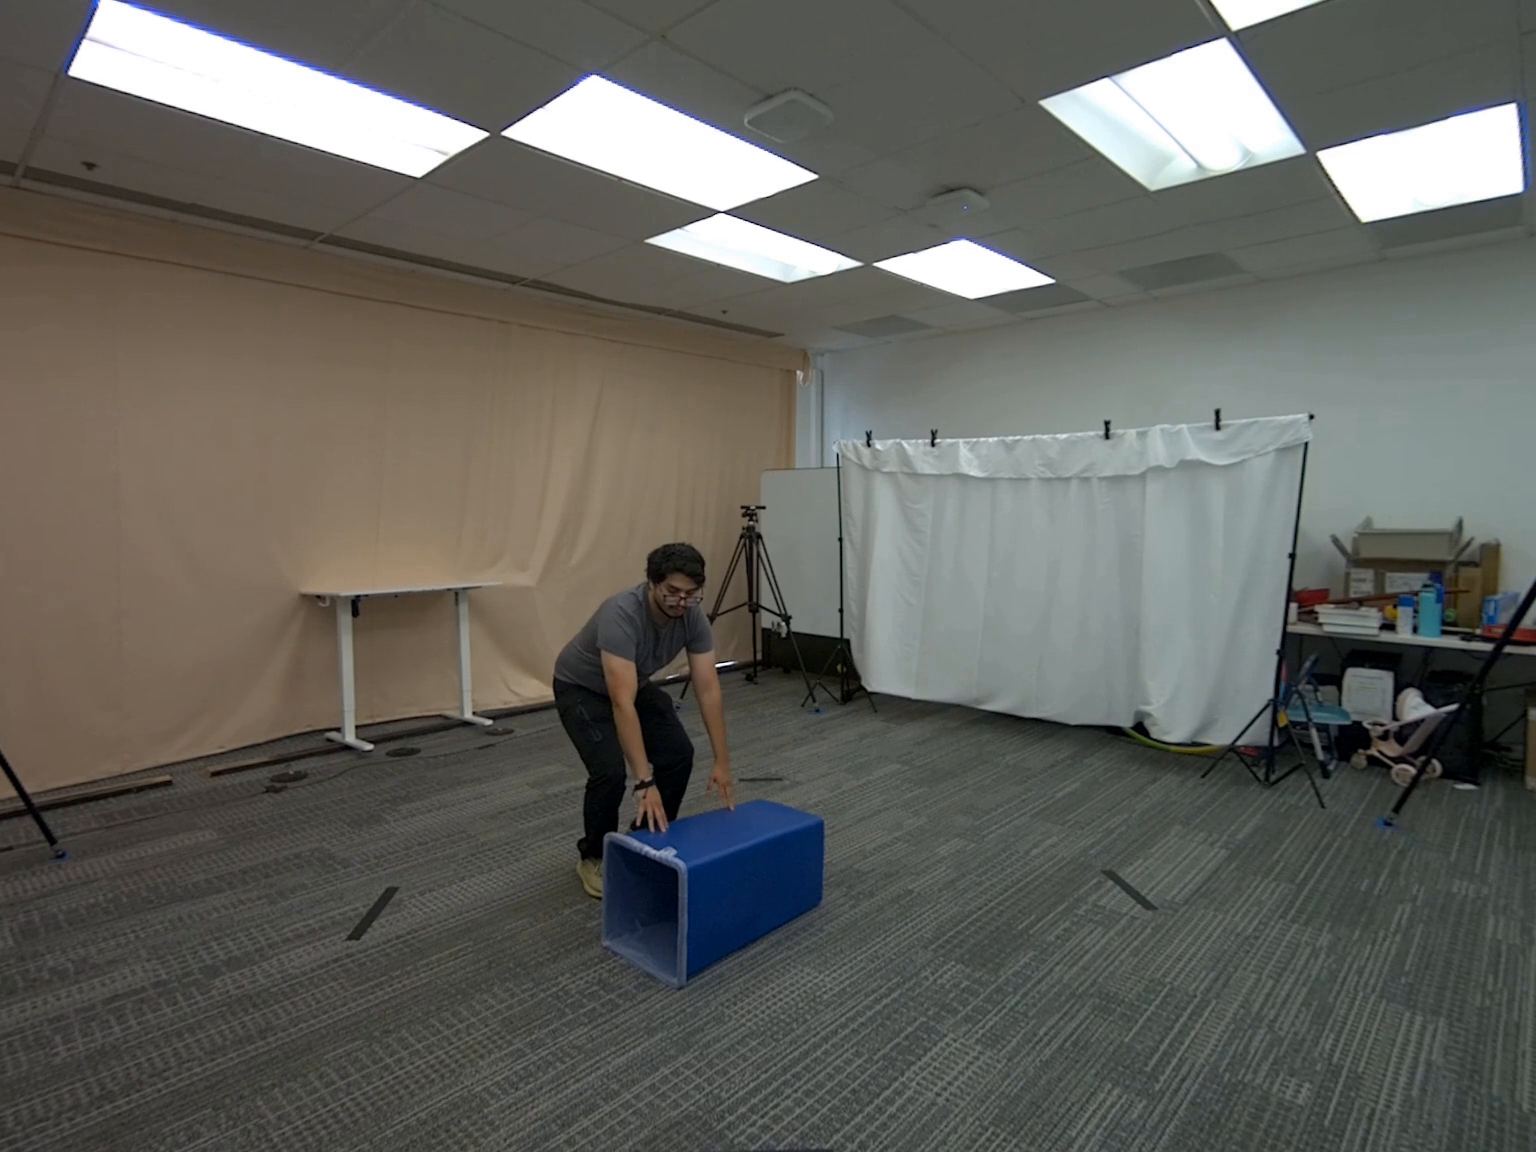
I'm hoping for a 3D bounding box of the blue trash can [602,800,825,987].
[{"bbox_3d":[-0.139,0.990,2.780,0.386,0.377,0.691,2,3,43],"label":"blue trash can"}]
